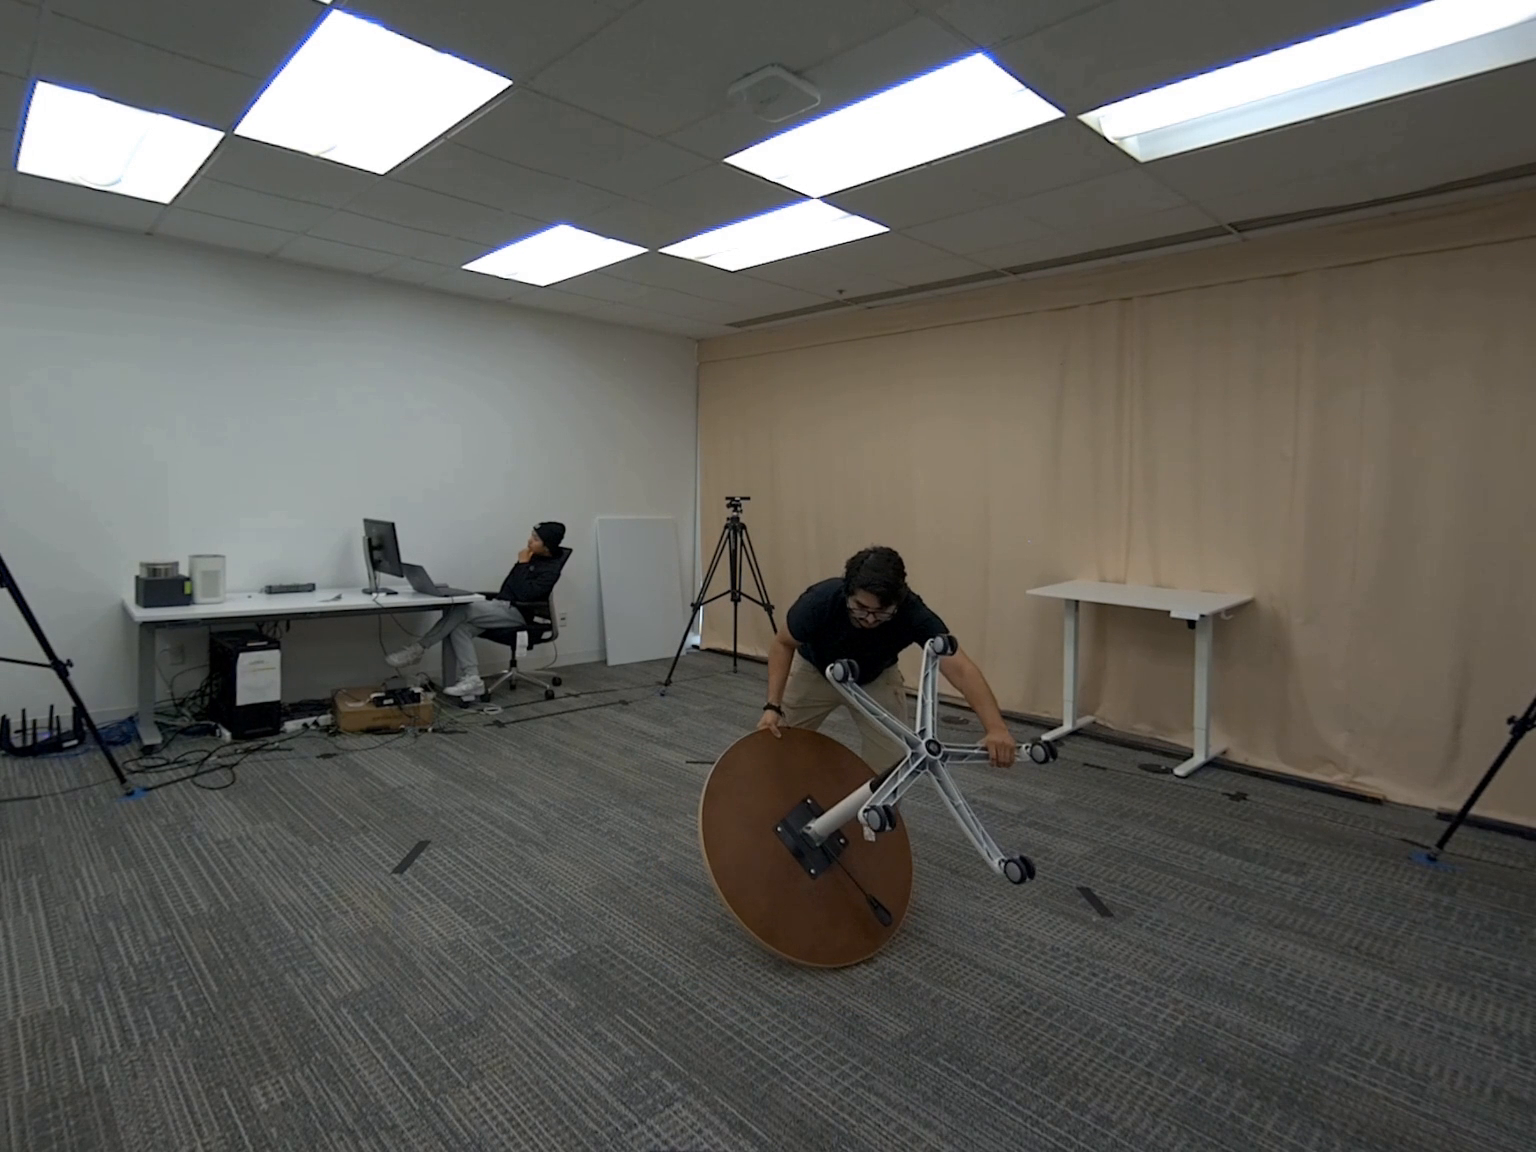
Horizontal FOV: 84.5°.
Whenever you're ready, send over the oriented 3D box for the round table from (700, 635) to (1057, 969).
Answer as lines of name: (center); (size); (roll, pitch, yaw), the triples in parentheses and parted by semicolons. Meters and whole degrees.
round table: (0.291, 0.636, 2.447); (0.769, 0.805, 0.783); (-1, -34, -31)
